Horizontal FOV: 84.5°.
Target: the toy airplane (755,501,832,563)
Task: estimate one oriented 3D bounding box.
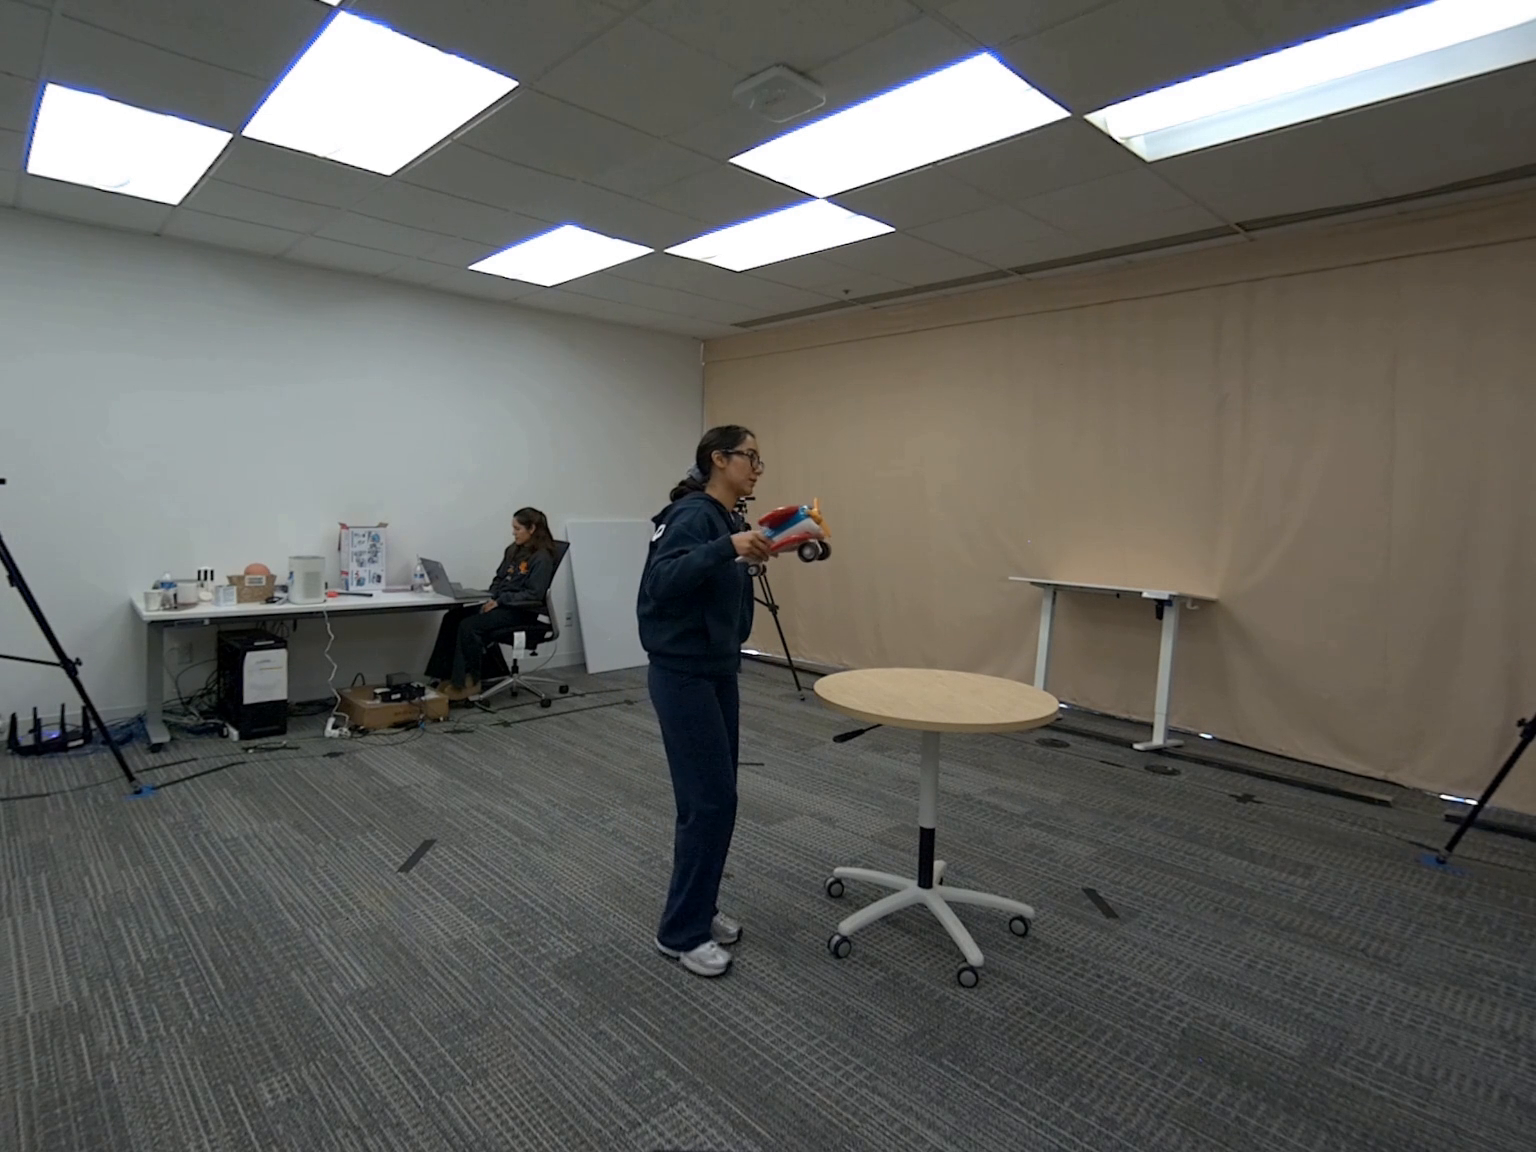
[{"bbox_3d":[0.032,-0.089,2.244,0.259,0.157,0.251,-14,-1,-3],"label":"toy airplane"}]
